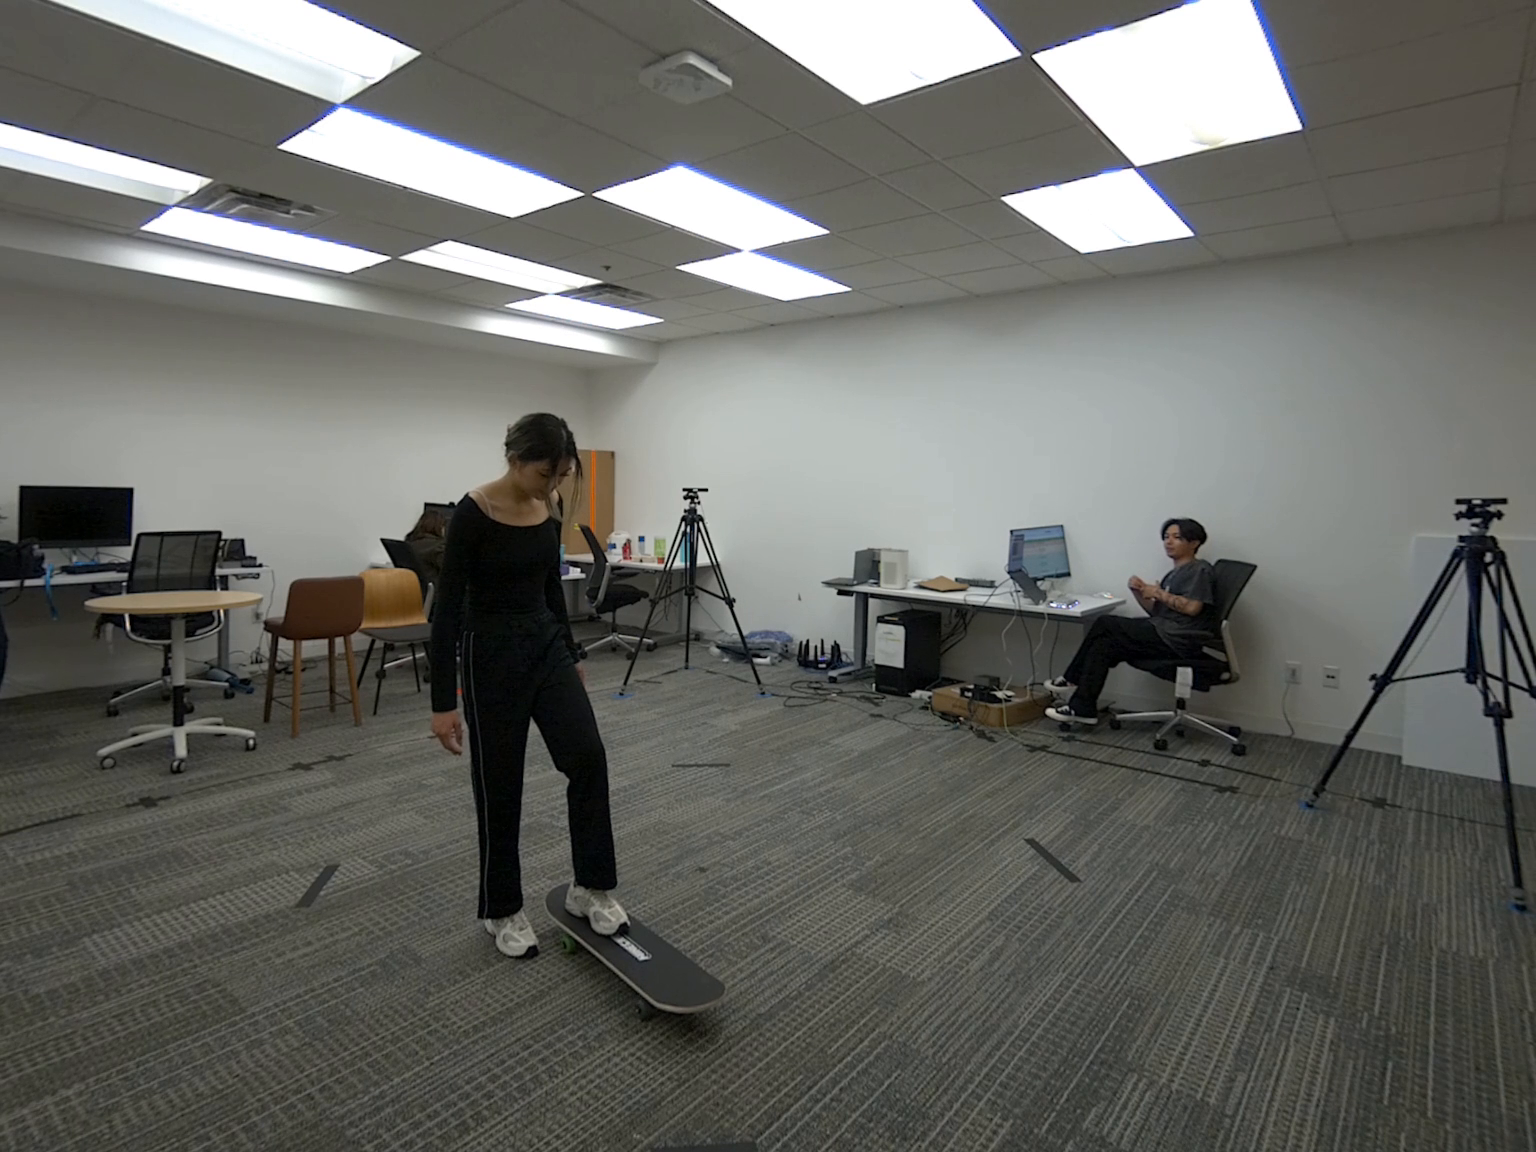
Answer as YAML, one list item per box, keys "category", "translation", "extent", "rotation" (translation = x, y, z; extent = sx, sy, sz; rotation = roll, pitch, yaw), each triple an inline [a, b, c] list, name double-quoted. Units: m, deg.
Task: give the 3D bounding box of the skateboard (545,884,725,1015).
- category: "skateboard"
  translation: [-0.412, 1.076, 2.425]
  extent: [0.188, 0.110, 0.812]
  rotation: [-4, 7, -41]
